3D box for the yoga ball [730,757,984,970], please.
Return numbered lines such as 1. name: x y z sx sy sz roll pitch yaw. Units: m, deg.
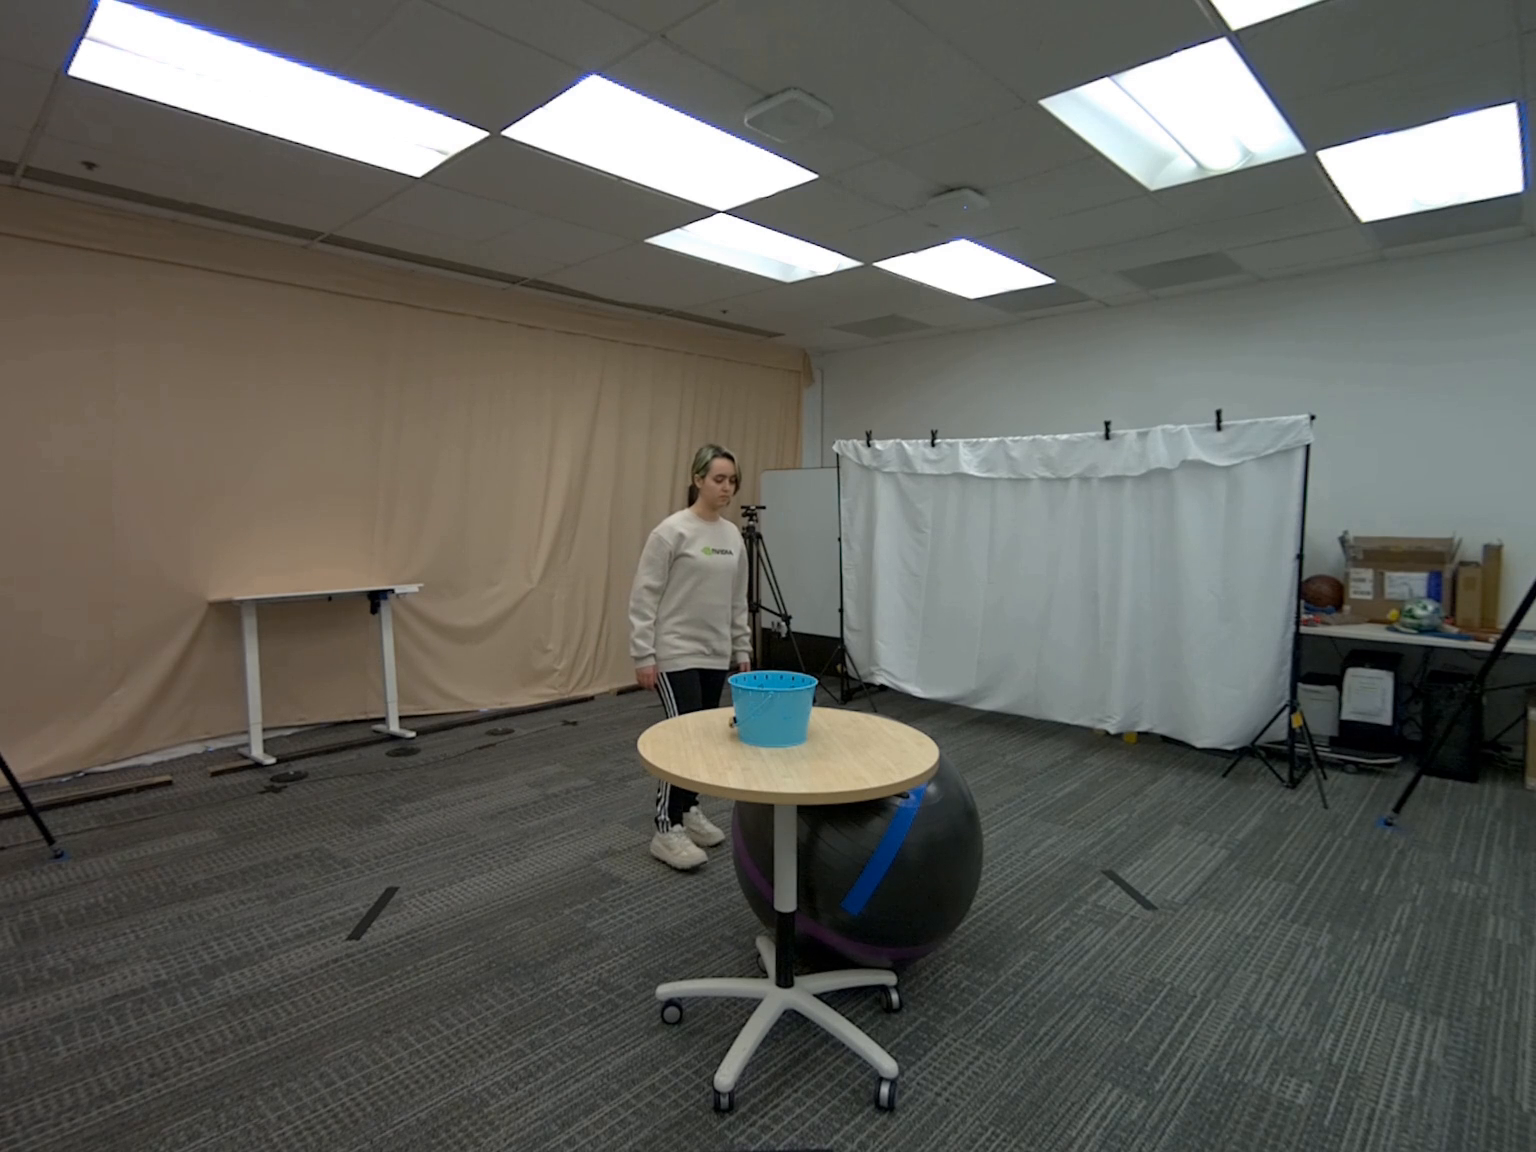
1. yoga ball: 0.280 0.815 2.584 0.757 0.756 0.760 0 4 -2
